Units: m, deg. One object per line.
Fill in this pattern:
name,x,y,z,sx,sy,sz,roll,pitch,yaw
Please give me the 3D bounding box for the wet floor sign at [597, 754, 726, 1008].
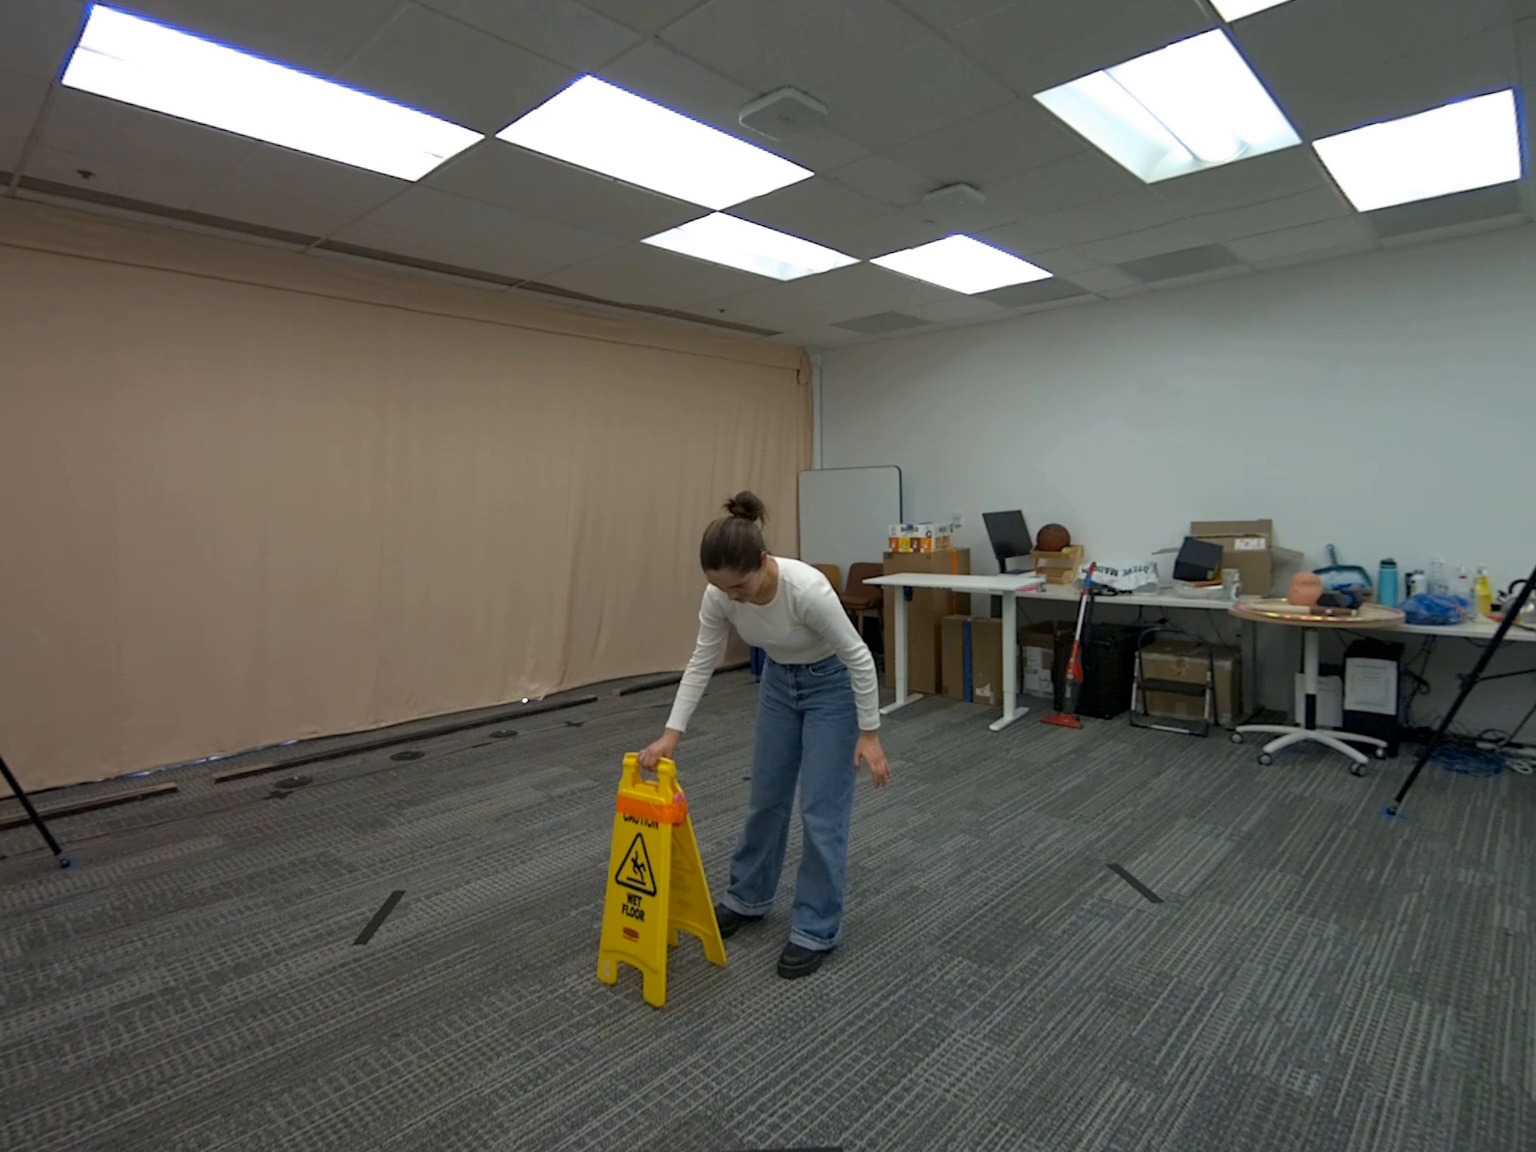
wet floor sign,-0.333,0.862,2.510,0.291,0.646,0.281,-2,1,39
